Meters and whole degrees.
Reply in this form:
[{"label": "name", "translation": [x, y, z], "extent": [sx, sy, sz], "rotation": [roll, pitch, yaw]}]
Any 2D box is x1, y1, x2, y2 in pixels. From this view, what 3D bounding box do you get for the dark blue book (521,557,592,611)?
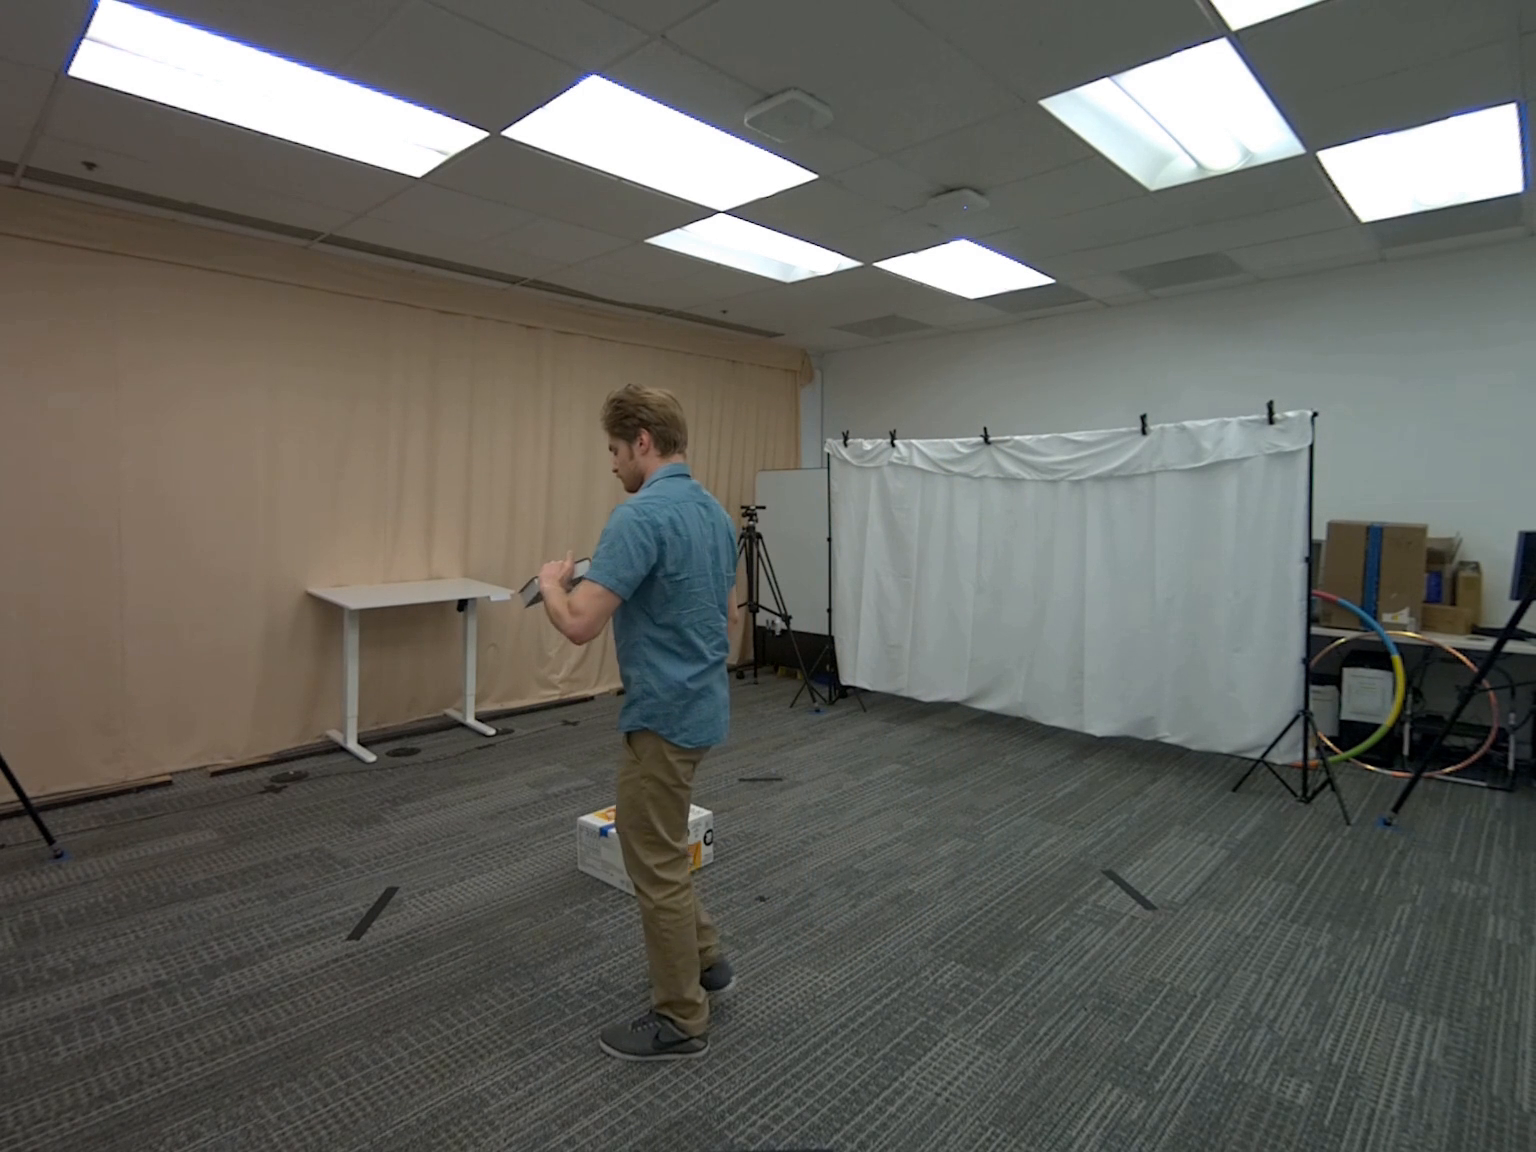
[{"label": "dark blue book", "translation": [-0.574, 0.024, 2.314], "extent": [0.161, 0.045, 0.249], "rotation": [-24, 0, -25]}]
